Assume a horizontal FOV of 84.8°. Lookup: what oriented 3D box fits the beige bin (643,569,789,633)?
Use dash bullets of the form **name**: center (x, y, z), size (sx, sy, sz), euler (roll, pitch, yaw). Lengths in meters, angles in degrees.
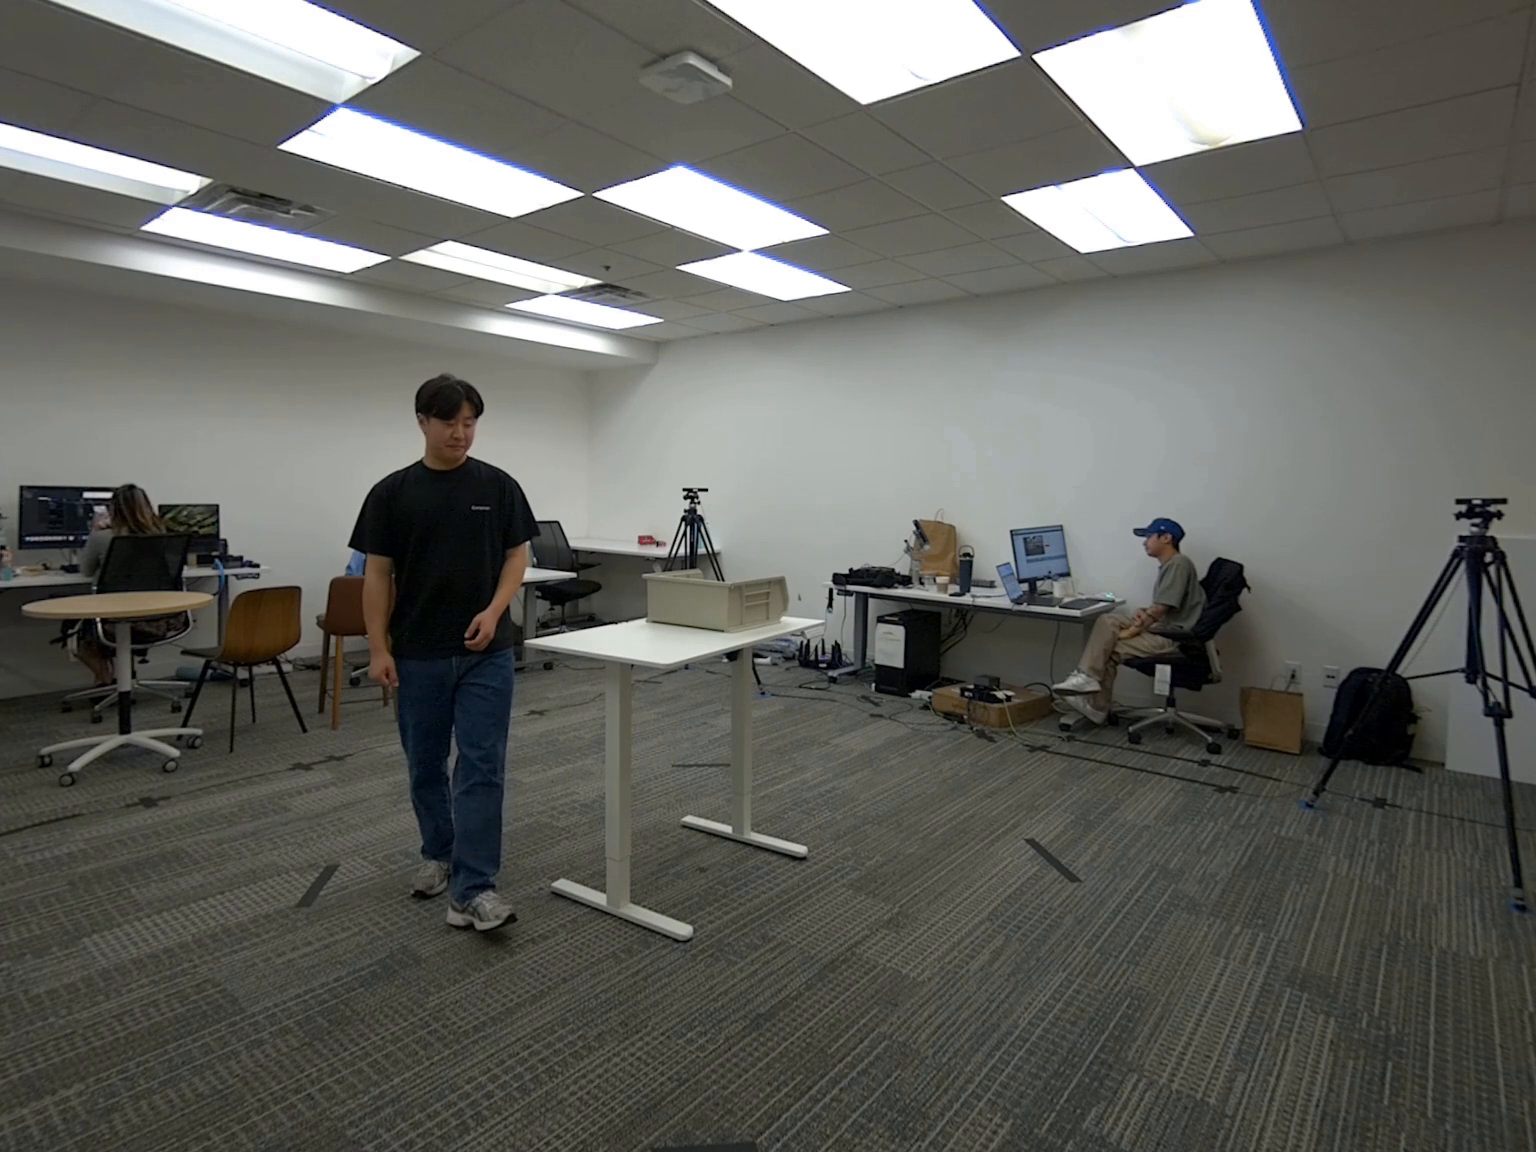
- **beige bin**: center (-0.205, 0.086, 3.238), size (0.436, 0.188, 0.367), euler (5, 8, 35)
